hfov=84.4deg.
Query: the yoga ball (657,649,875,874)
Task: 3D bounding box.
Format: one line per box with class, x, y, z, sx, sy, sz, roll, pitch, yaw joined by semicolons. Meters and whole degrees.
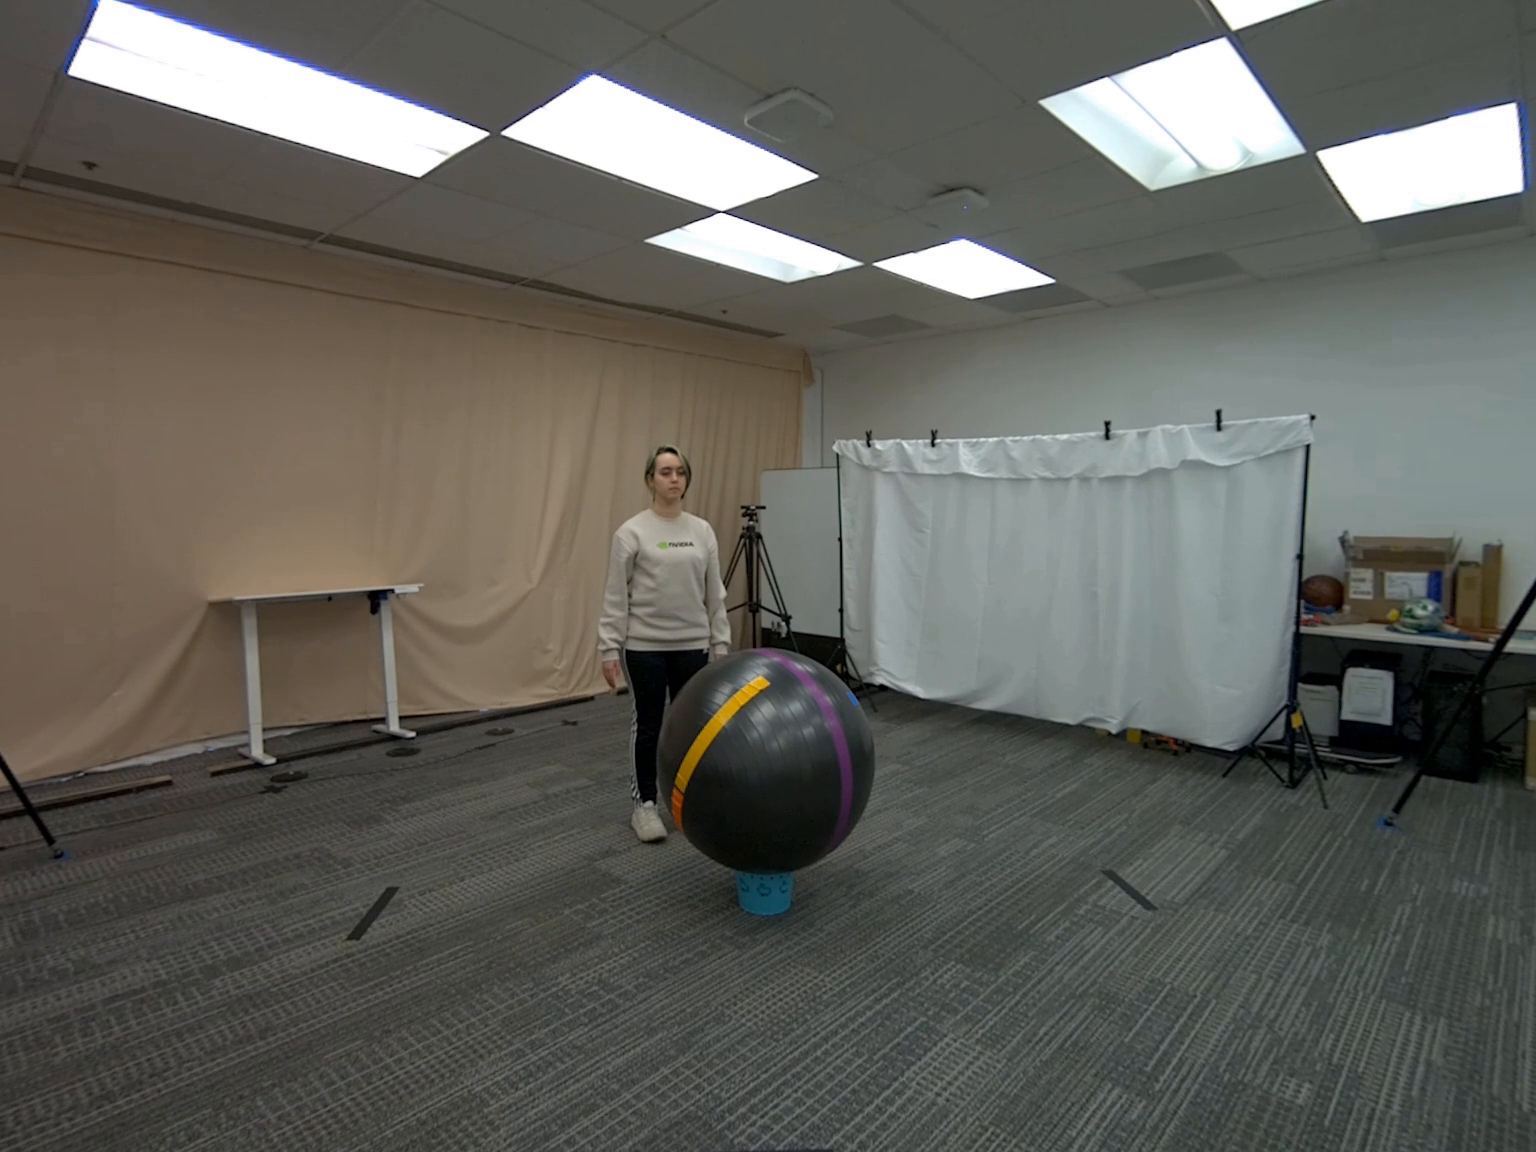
yoga ball;-0.007;0.632;2.933;0.757;0.756;0.760;0;4;-2
